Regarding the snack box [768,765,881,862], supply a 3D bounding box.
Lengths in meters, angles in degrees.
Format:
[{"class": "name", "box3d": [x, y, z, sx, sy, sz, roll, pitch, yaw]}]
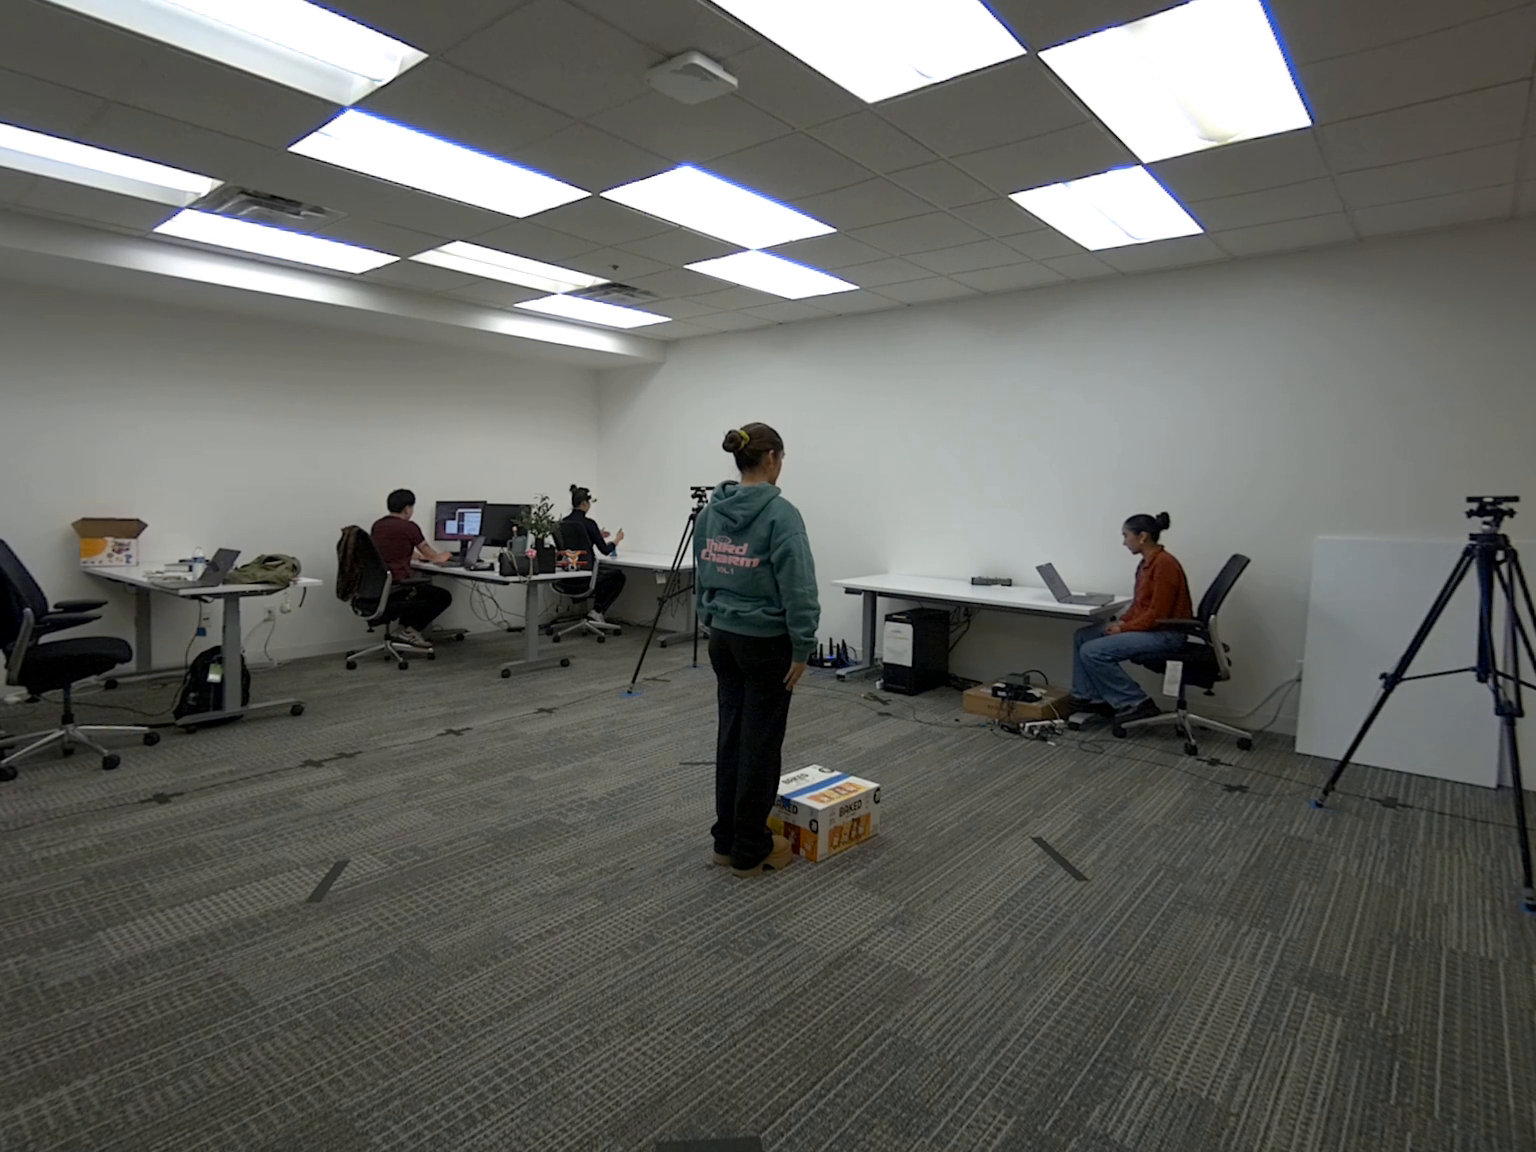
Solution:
[{"class": "snack box", "box3d": [0.190, 0.940, 3.427, 0.352, 0.205, 0.393, 6, 7, 43]}]
